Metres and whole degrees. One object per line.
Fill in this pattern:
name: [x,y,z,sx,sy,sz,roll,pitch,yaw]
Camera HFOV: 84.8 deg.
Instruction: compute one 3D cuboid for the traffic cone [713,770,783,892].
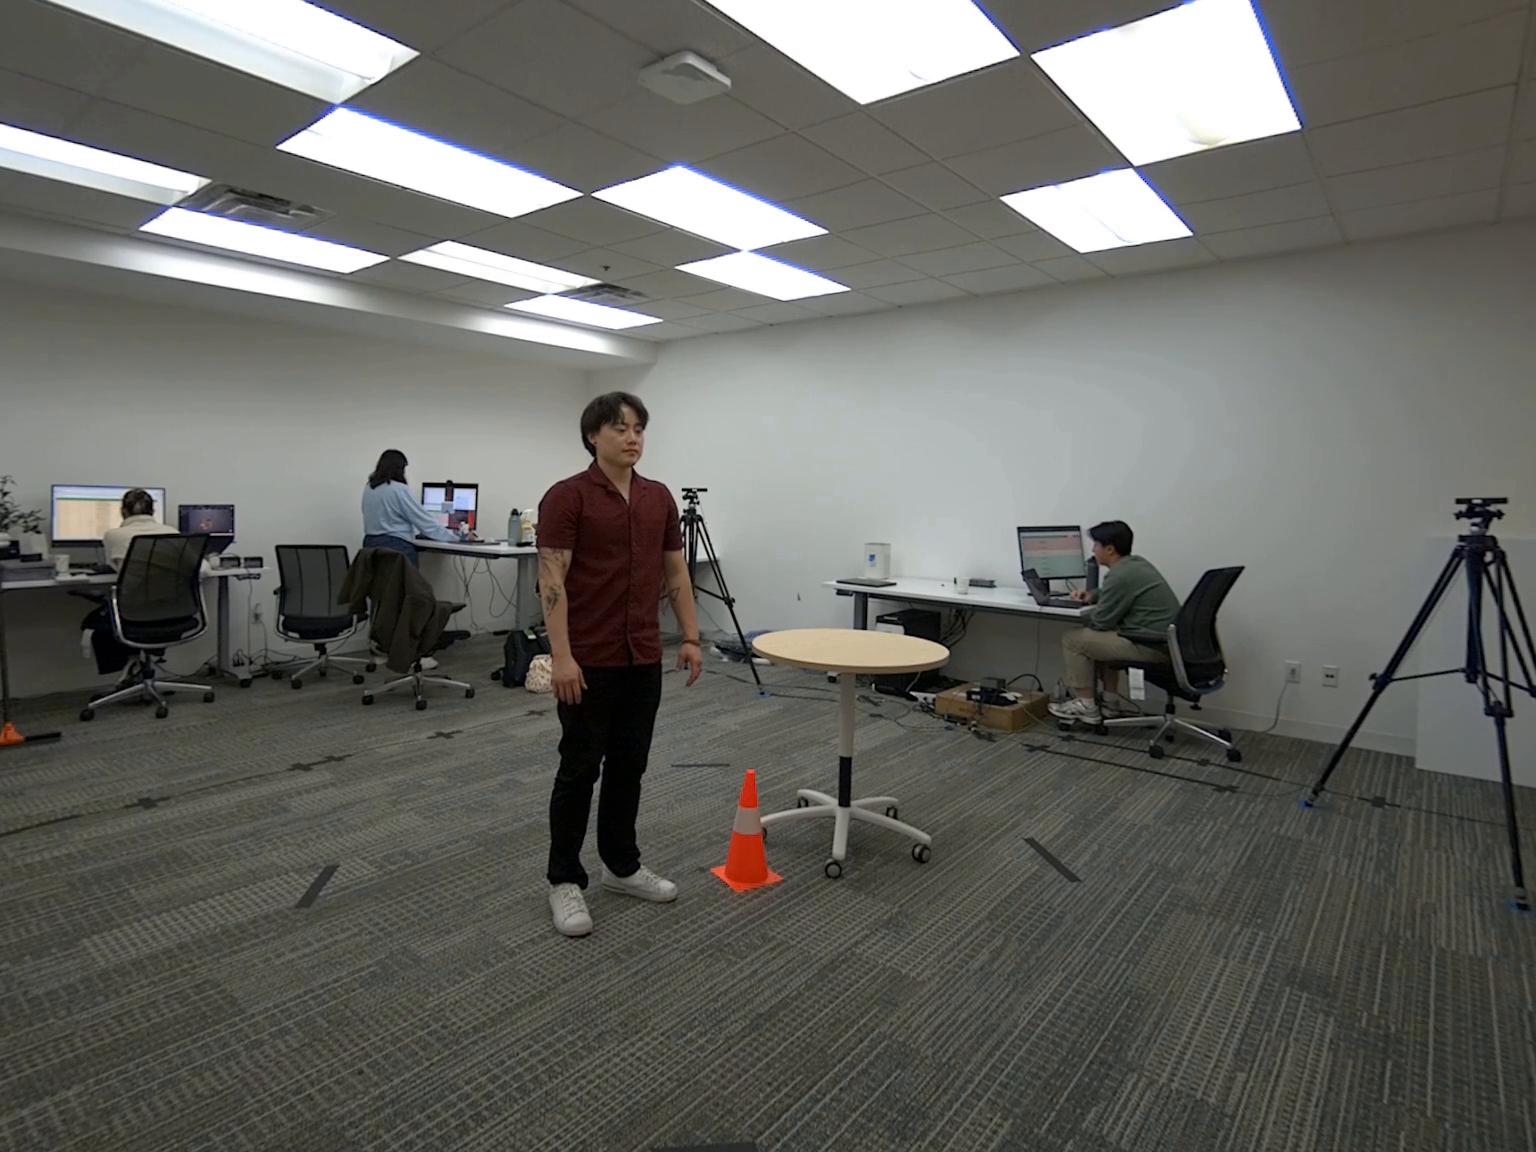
traffic cone: [-0.075,0.898,3.058,0.198,0.382,0.211,0,4,-30]
